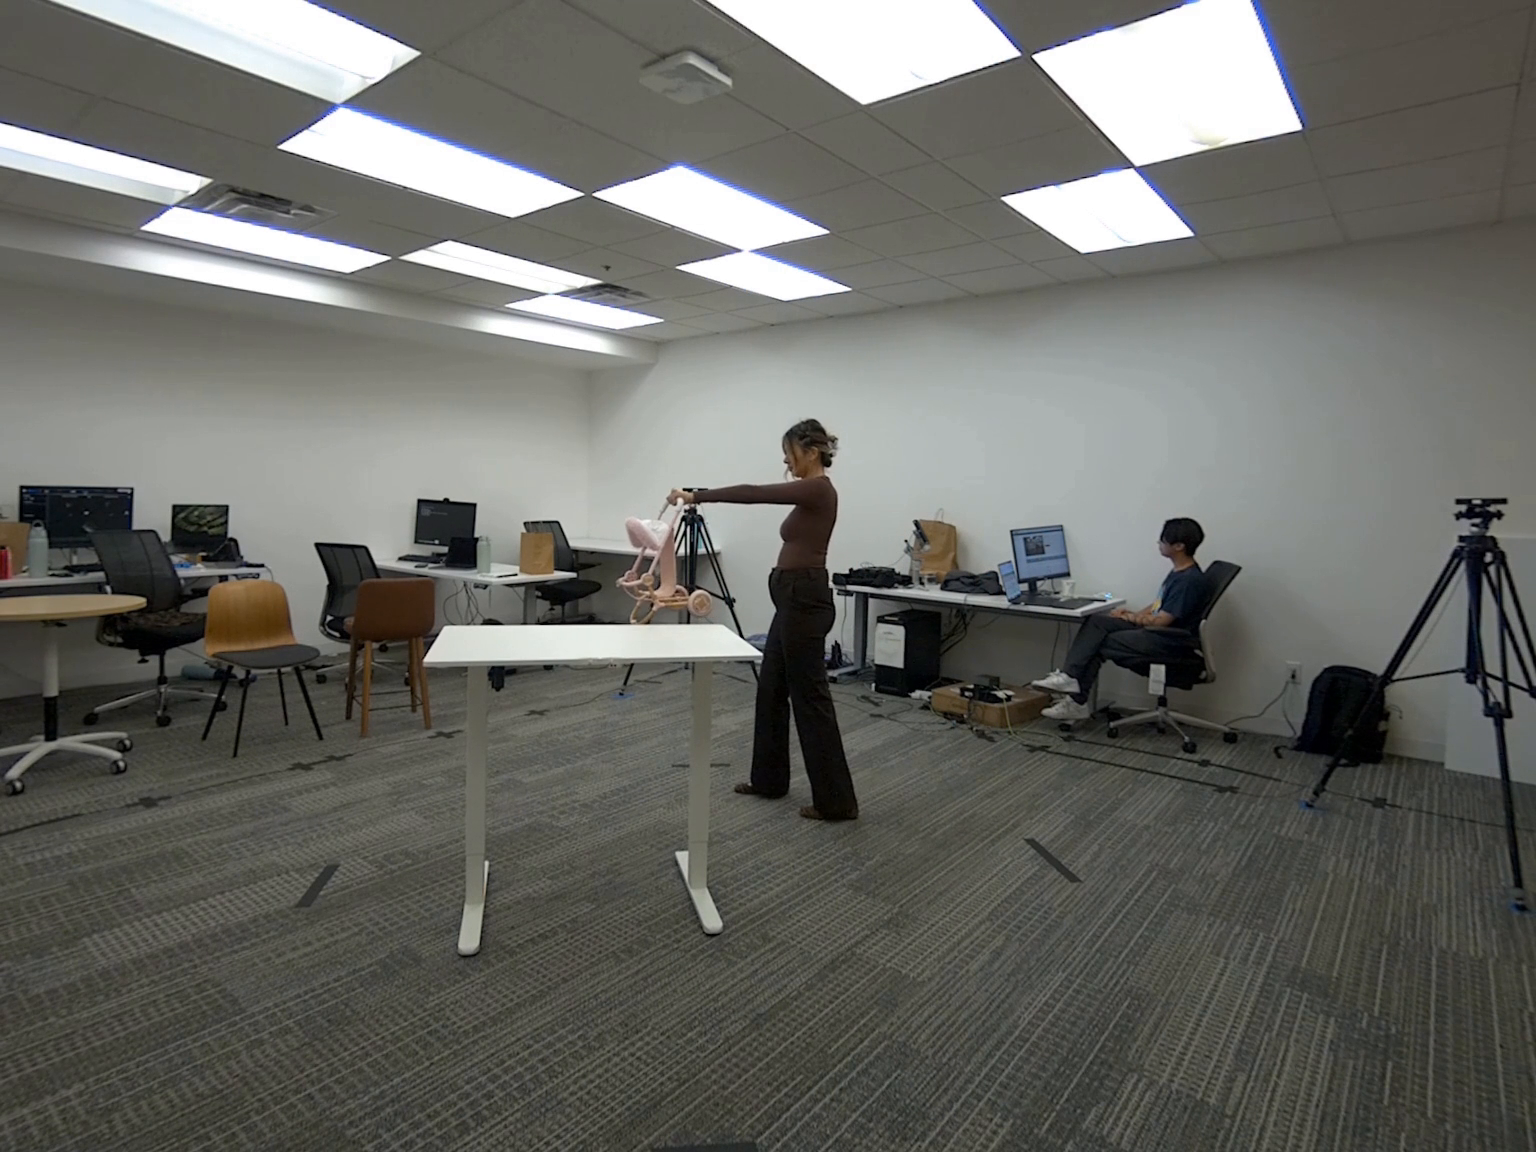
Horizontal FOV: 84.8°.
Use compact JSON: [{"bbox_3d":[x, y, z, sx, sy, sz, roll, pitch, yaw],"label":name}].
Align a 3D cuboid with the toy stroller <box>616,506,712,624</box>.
[{"bbox_3d":[-0.477,-0.022,3.434,0.336,0.530,0.289,-15,10,-21],"label":"toy stroller"}]
